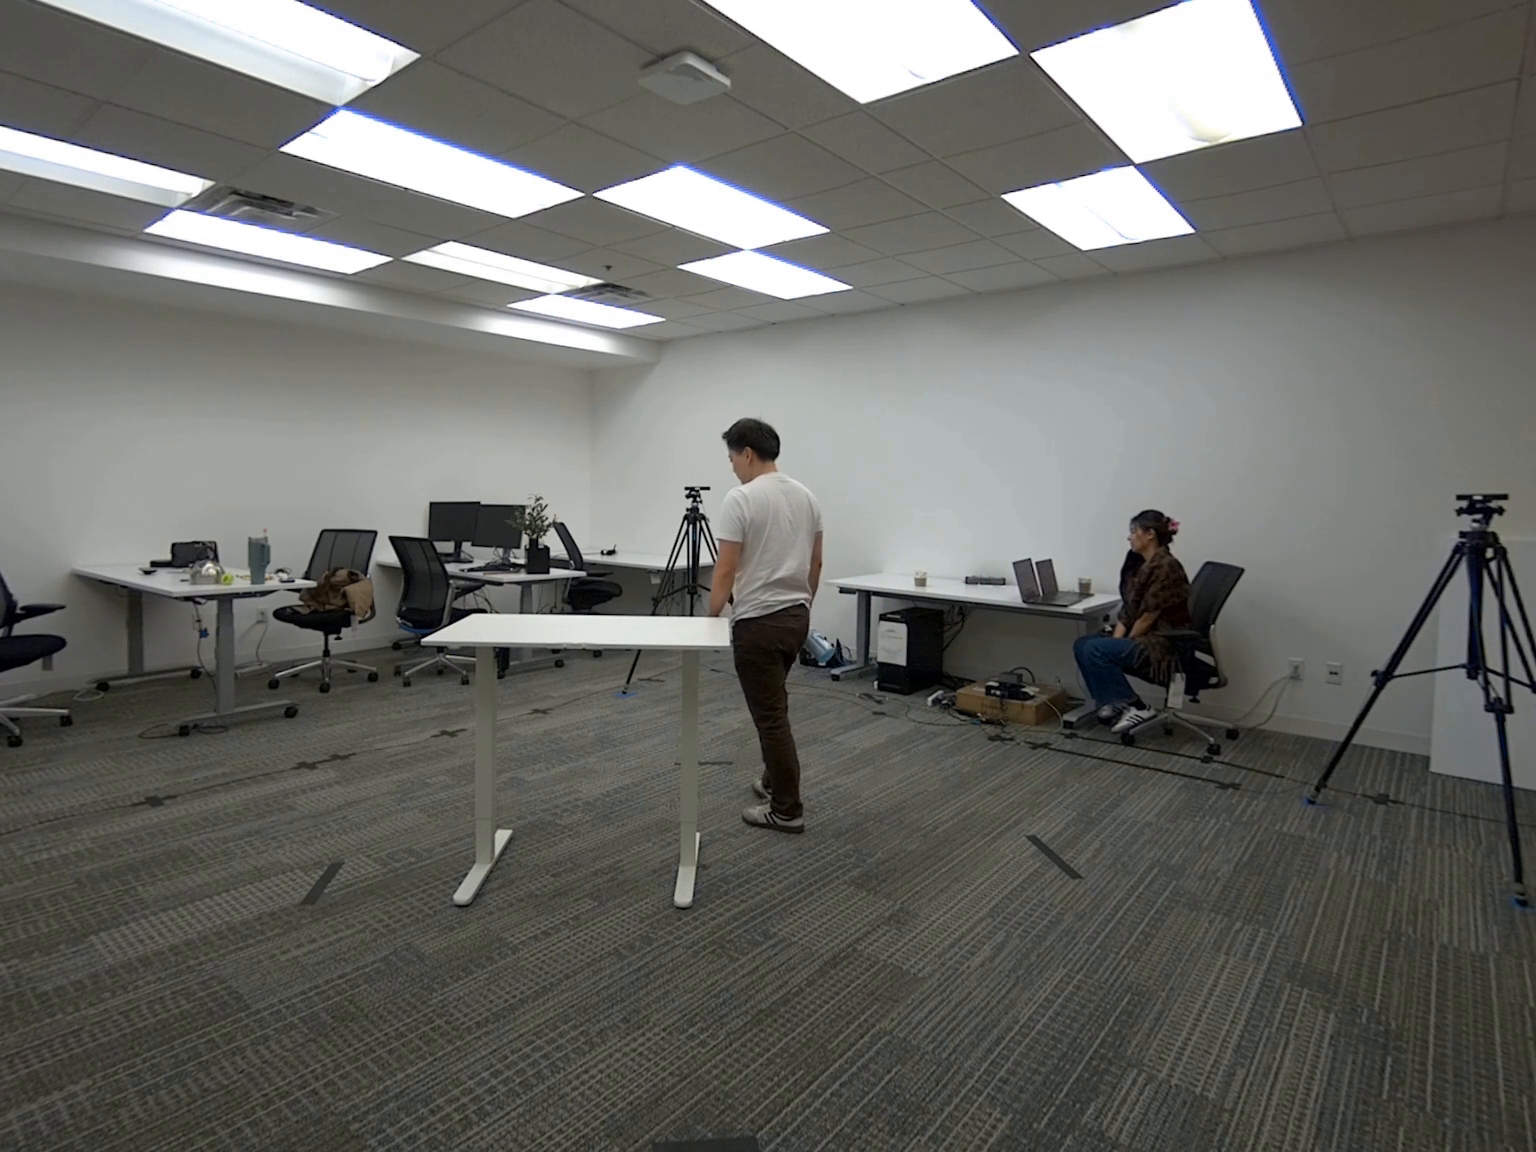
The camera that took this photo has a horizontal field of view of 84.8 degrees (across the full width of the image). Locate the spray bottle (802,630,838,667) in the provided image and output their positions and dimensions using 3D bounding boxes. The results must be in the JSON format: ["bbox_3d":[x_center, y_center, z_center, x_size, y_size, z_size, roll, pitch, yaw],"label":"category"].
[{"bbox_3d":[0.156,0.254,3.738,0.087,0.307,0.087,-39,-26,-17],"label":"spray bottle"}]
